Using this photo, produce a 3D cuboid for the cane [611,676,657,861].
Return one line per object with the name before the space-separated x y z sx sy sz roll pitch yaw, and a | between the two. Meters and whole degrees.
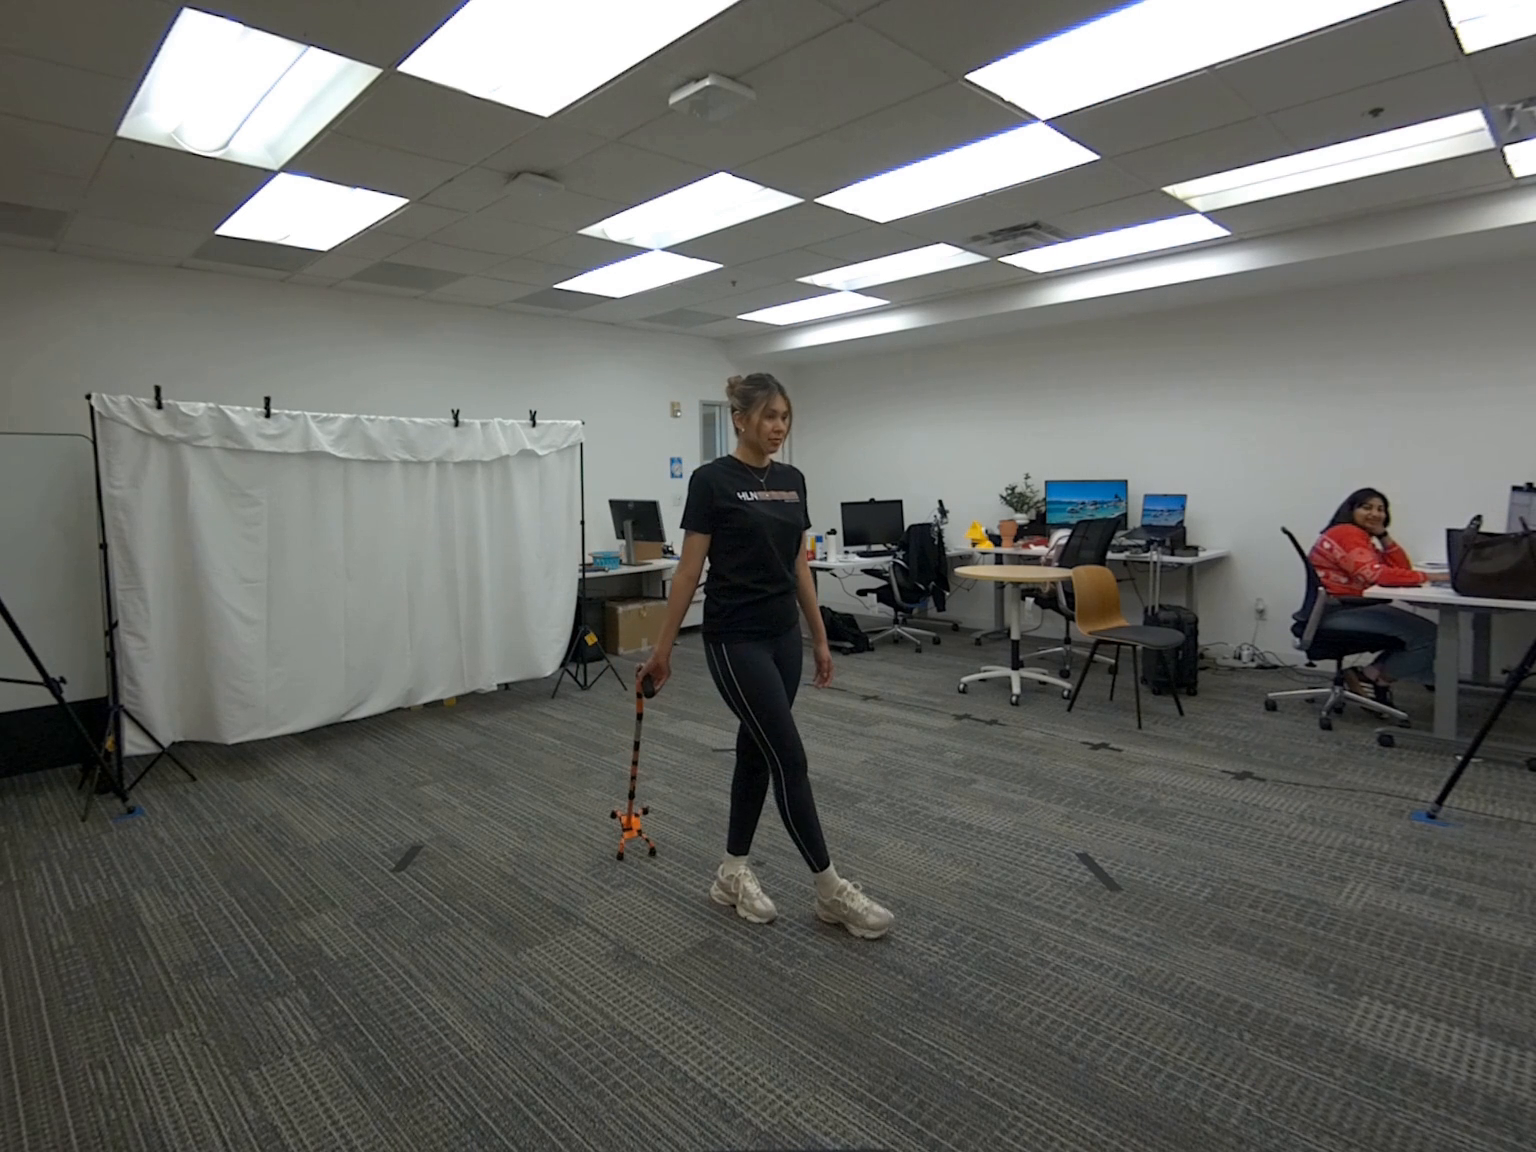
cane | -0.447 0.639 2.975 0.150 0.888 0.214 -2 40 -15
